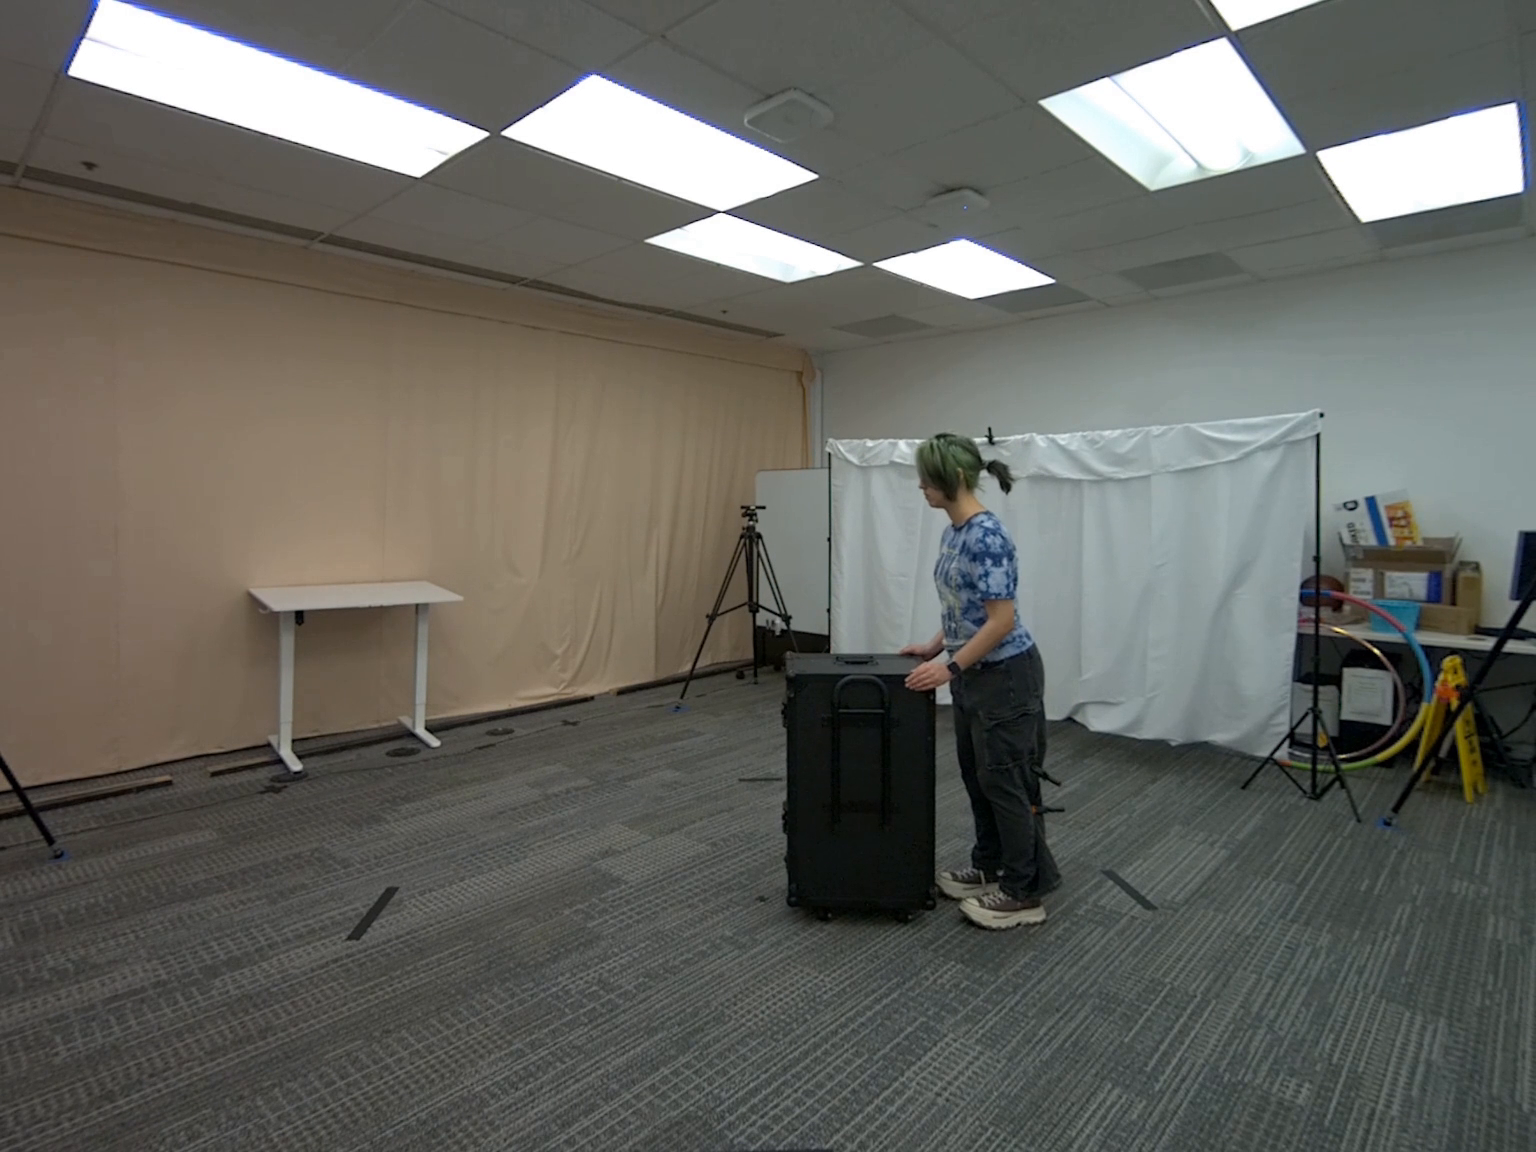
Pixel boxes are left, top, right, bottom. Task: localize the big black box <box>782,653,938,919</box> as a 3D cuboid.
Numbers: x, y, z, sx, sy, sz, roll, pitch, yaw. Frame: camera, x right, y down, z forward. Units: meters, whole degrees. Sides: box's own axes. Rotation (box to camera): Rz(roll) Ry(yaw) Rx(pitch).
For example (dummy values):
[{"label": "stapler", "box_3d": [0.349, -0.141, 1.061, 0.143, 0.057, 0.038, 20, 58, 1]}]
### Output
[{"label": "big black box", "box_3d": [0.310, 0.731, 2.912, 0.524, 0.859, 0.395, 0, 5, 4]}]
